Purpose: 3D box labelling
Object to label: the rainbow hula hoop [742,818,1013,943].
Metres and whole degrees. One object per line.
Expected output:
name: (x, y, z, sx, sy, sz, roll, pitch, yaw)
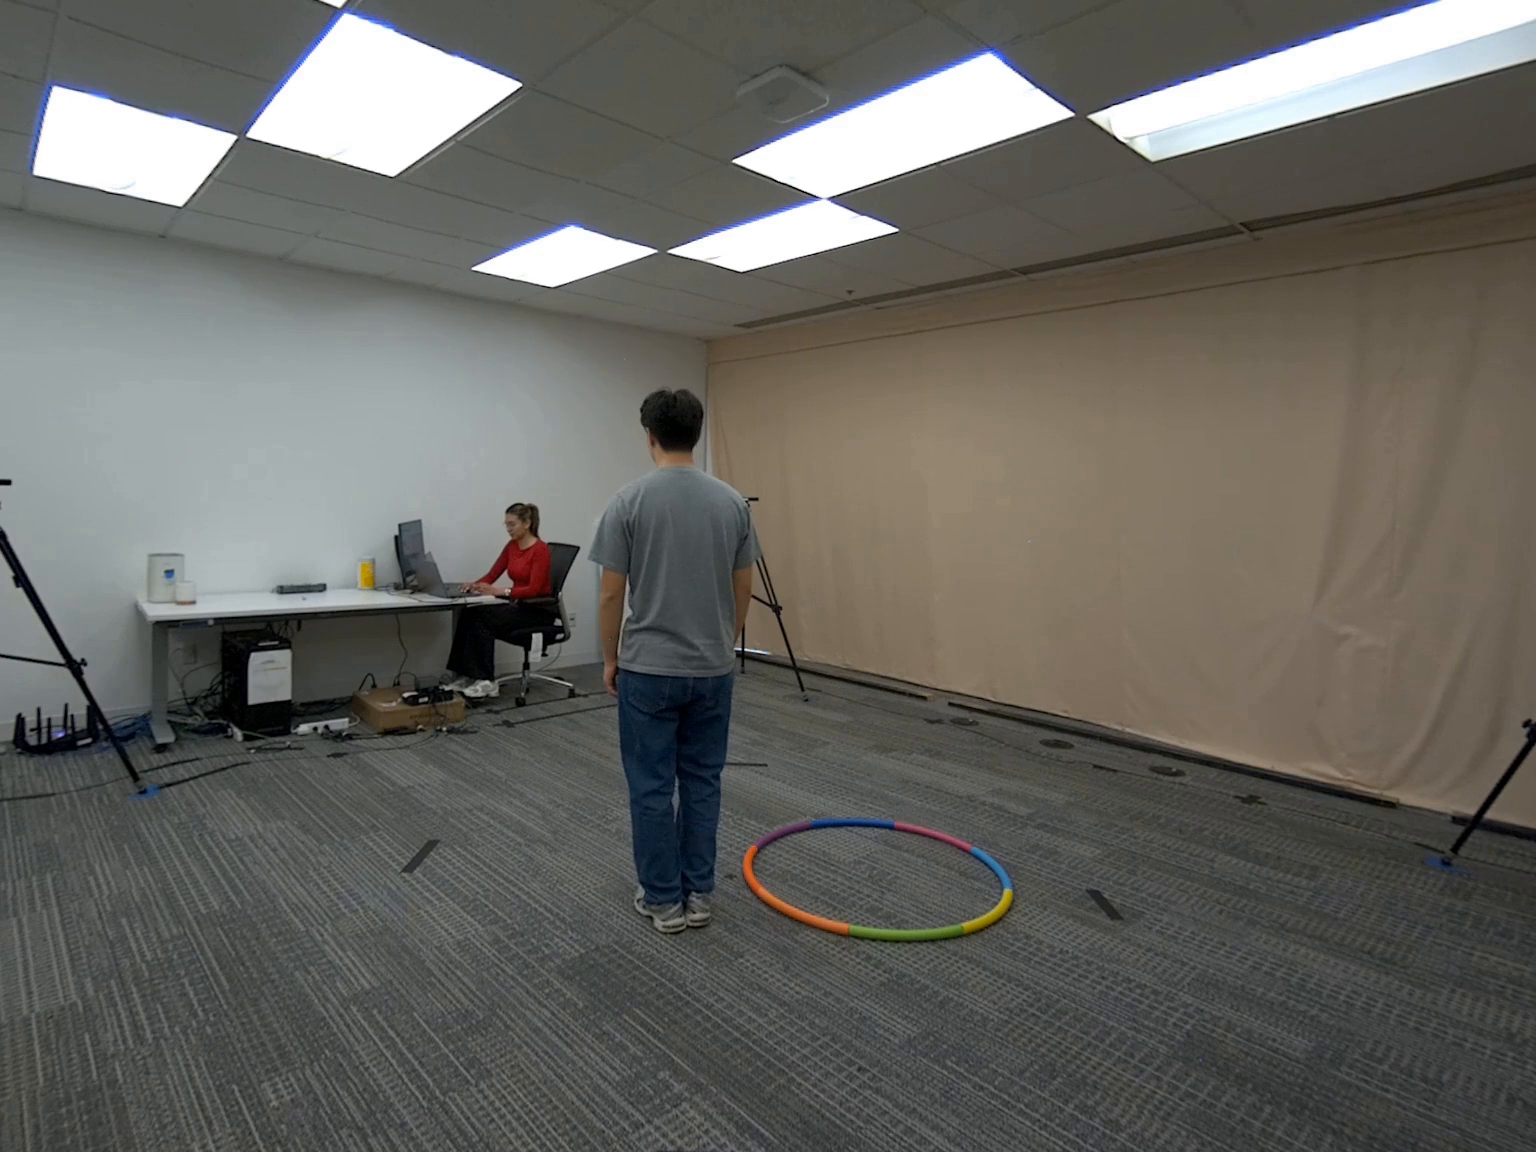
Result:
rainbow hula hoop: (0.382, 1.084, 3.149, 0.978, 0.035, 0.982, 1, 5, -1)
